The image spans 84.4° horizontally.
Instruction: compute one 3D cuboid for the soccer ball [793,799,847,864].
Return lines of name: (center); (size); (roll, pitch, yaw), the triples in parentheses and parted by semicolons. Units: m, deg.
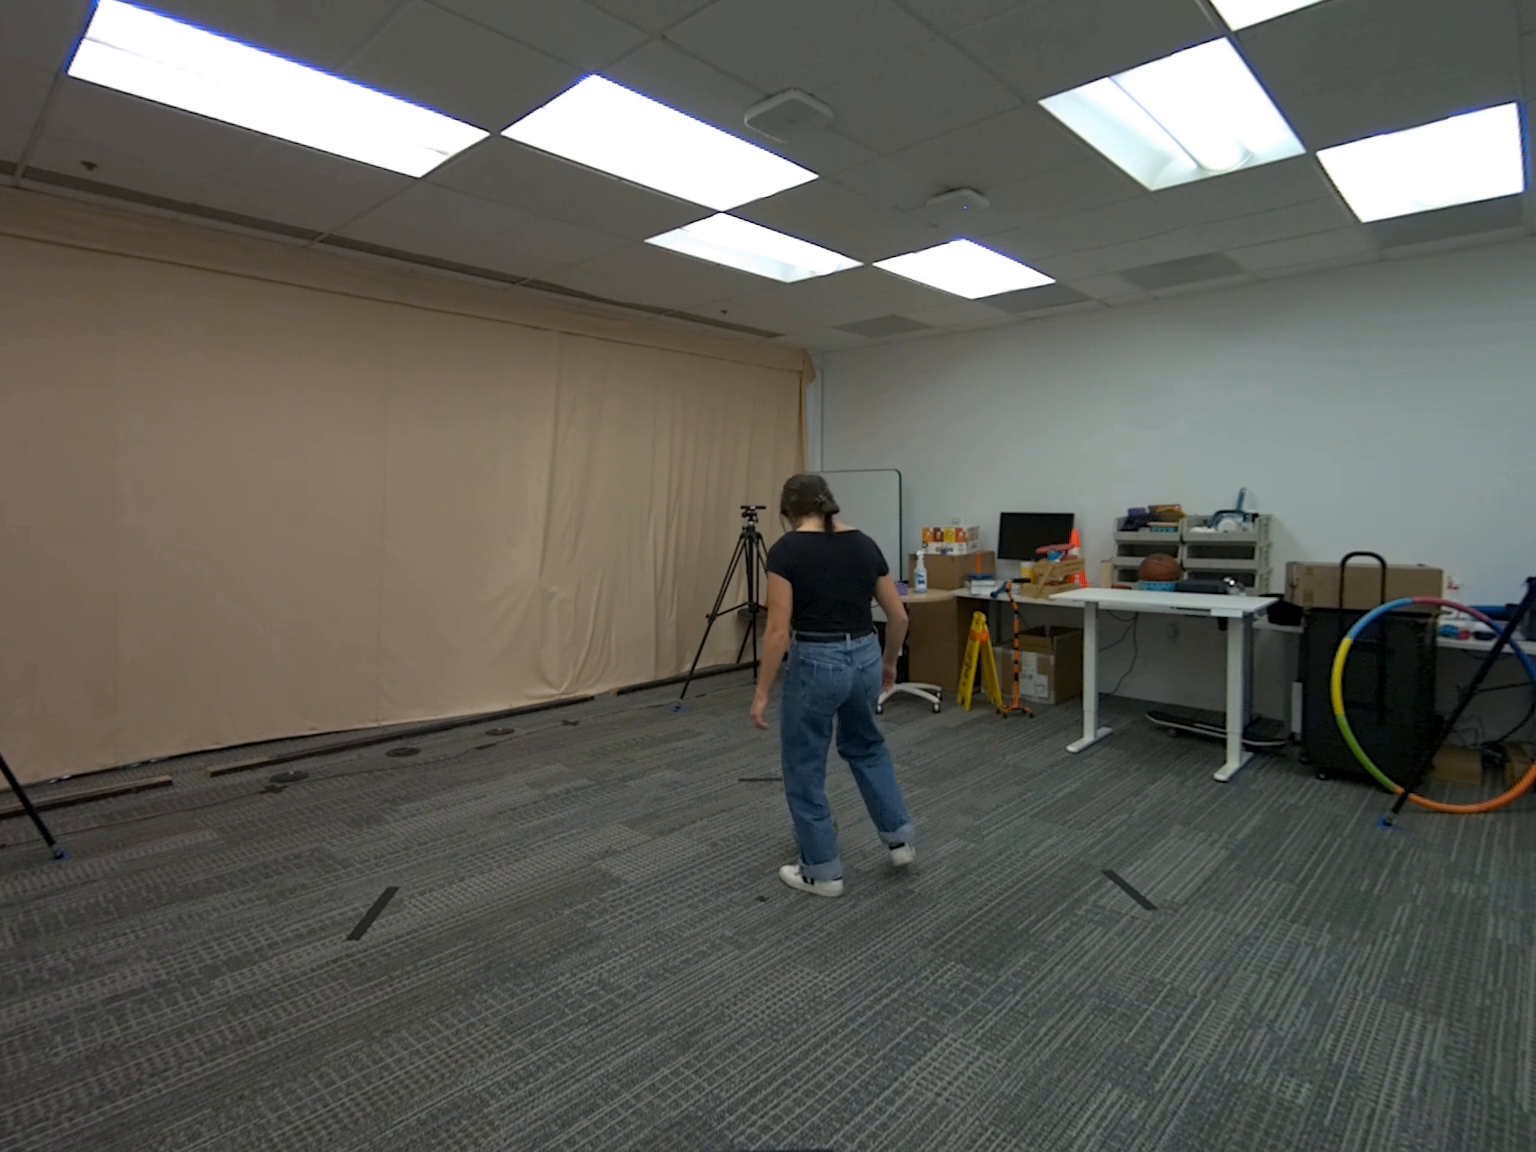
soccer ball: (0.203, 1.017, 3.388); (0.187, 0.187, 0.188); (0, 4, -2)
